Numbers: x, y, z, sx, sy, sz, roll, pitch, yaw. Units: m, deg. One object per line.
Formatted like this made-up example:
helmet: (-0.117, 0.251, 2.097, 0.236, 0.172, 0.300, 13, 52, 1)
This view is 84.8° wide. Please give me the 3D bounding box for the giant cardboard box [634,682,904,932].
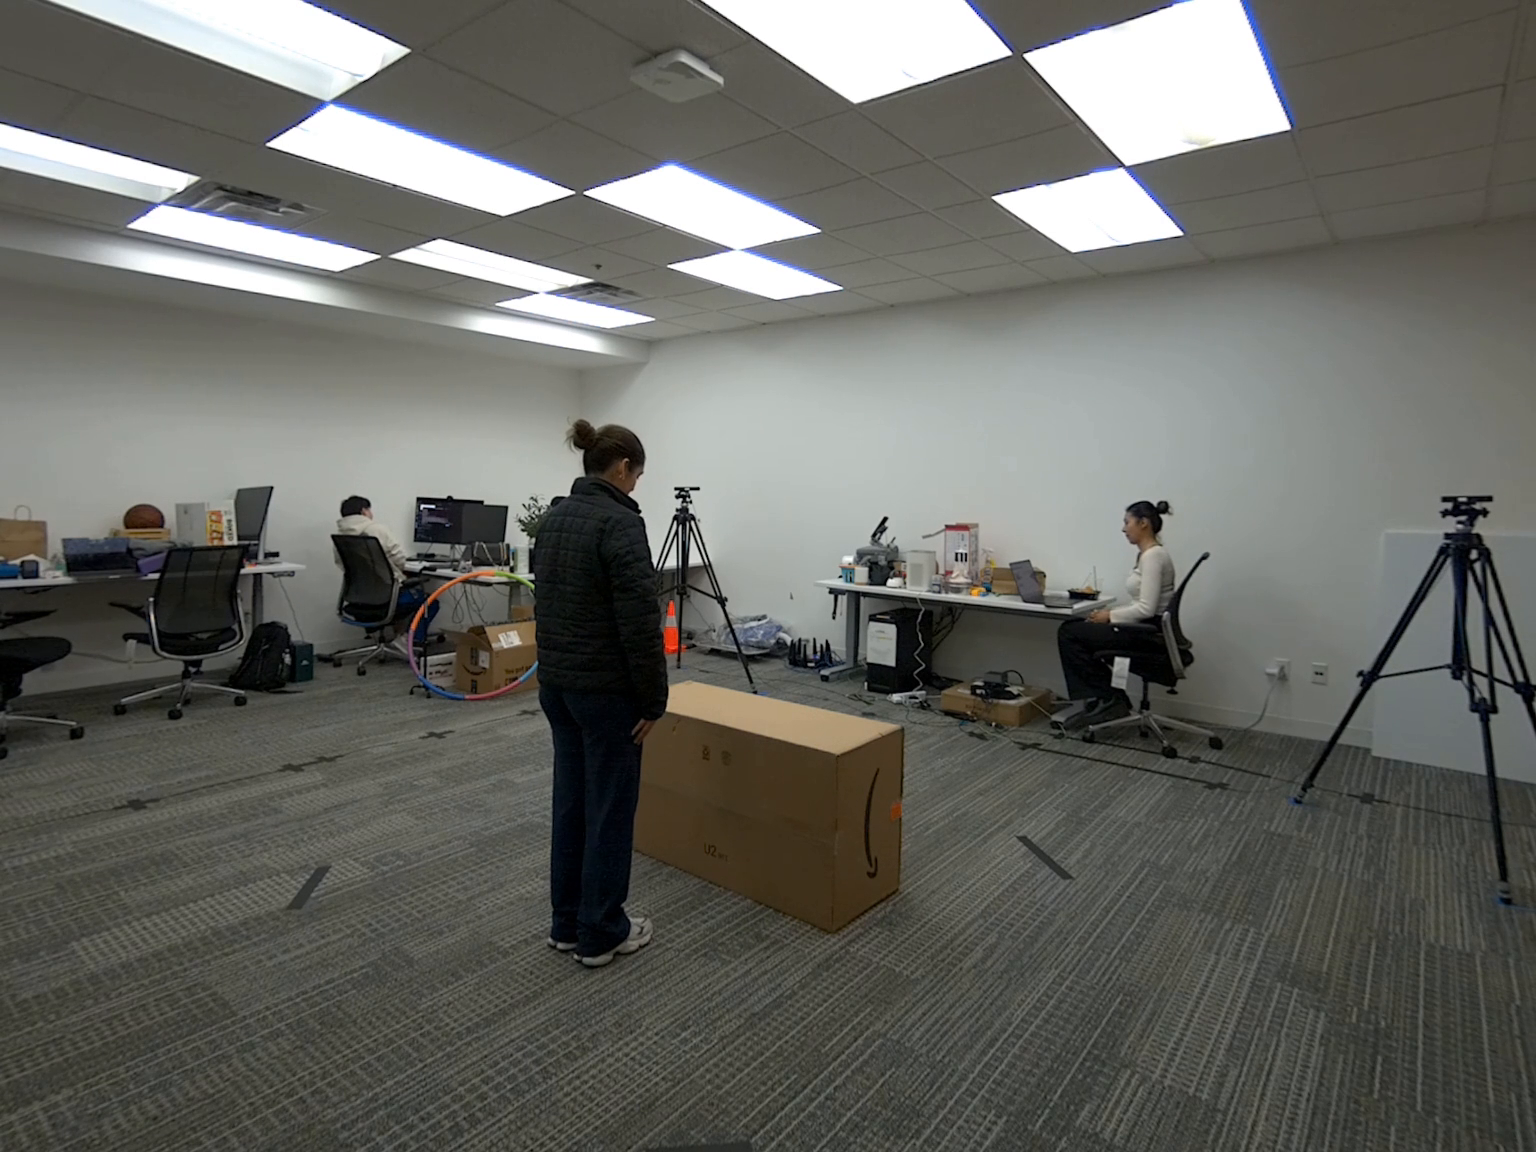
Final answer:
giant cardboard box: (-0.050, 0.778, 3.149, 1.062, 0.581, 0.434, 6, 7, 41)
